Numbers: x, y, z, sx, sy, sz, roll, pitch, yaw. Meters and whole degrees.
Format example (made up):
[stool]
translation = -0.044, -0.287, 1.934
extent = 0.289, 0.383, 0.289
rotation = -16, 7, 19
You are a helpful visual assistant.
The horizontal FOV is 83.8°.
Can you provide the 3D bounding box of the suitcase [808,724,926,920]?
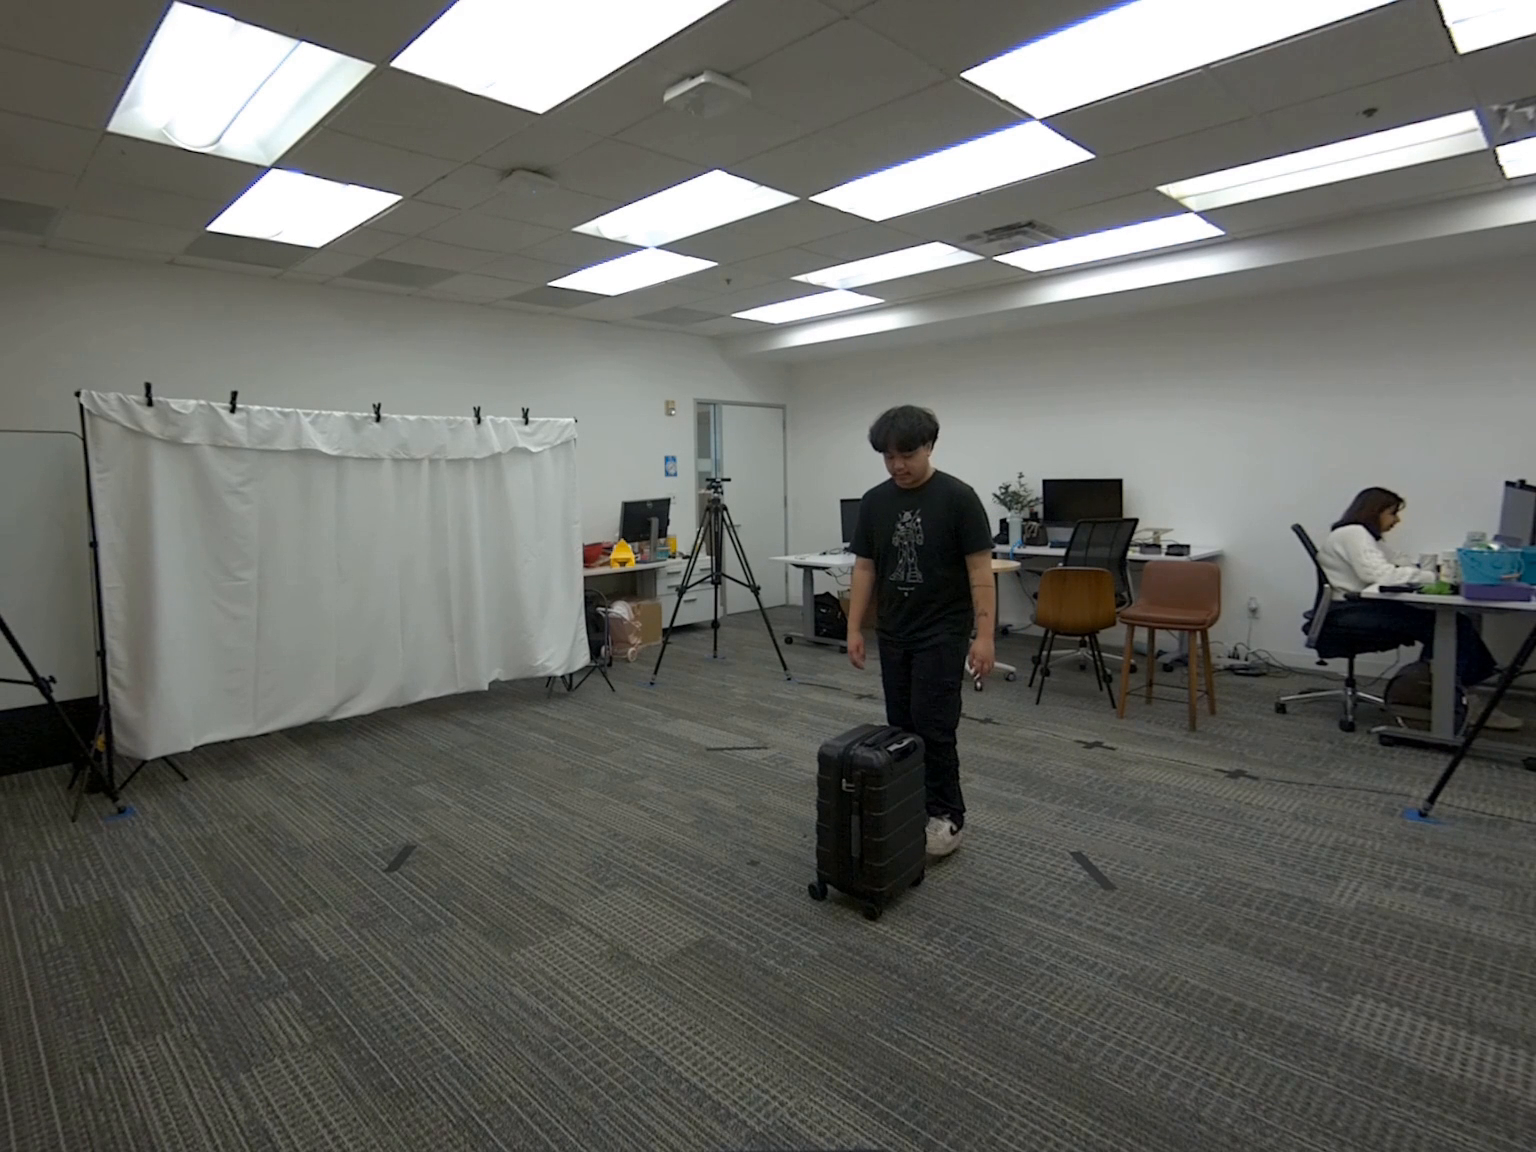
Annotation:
[suitcase]
translation = 0.347, 0.789, 2.847
extent = 0.256, 0.547, 0.366
rotation = 3, 7, 38
